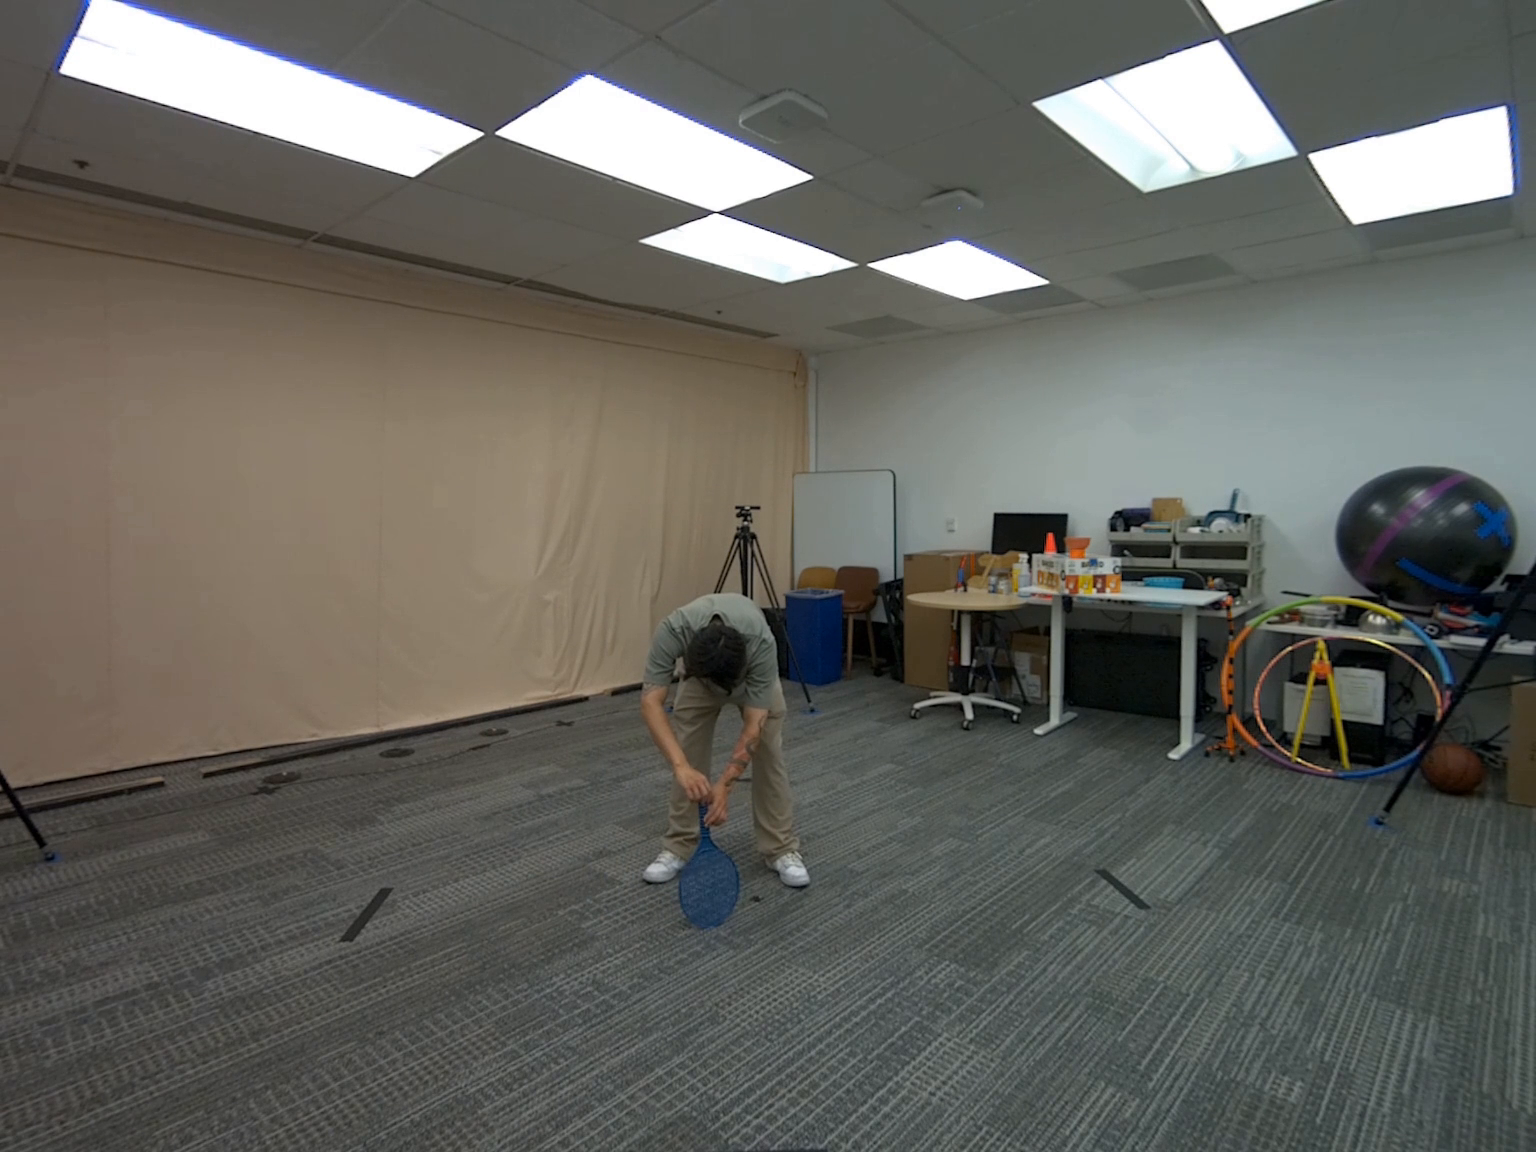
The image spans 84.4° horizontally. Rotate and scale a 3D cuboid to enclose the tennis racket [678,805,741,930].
[{"bbox_3d":[-0.195,0.948,2.772,0.210,0.431,0.032,-5,4,-18],"label":"tennis racket"}]
